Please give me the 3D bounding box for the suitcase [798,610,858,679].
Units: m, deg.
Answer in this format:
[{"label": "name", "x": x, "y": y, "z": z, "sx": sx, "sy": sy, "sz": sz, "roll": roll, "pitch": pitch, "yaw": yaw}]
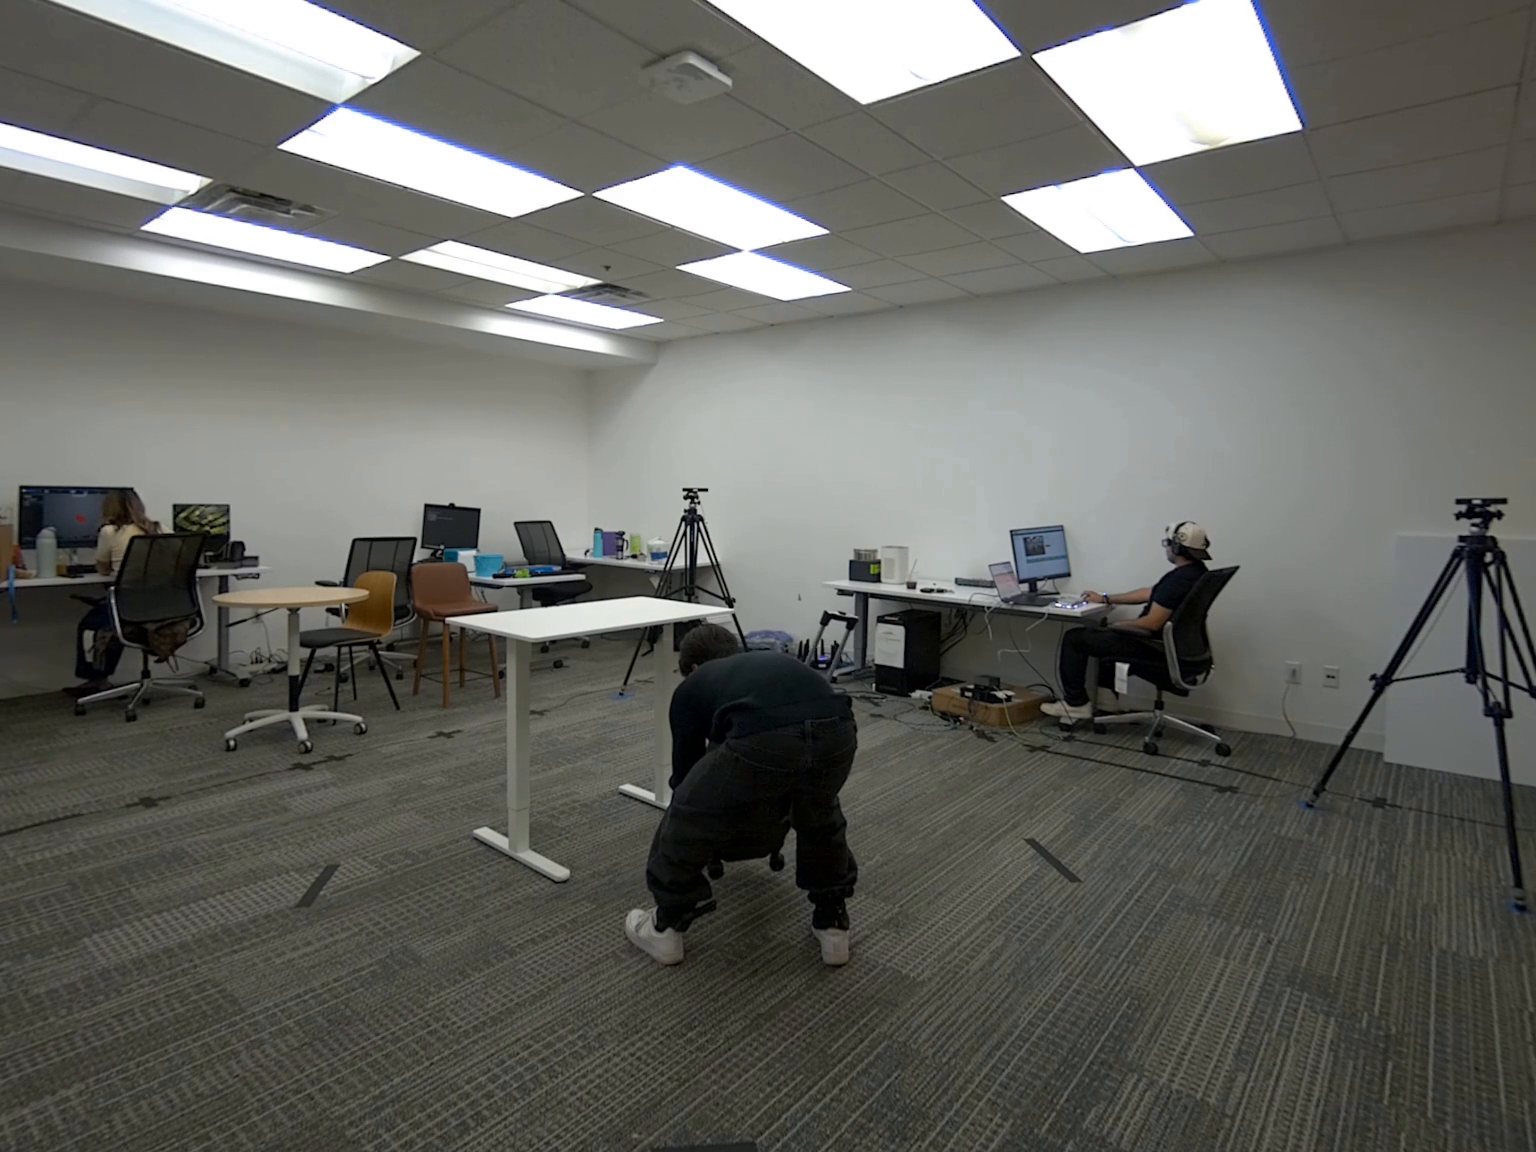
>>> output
[{"label": "suitcase", "x": -0.006, "y": 0.536, "z": 2.953, "sx": 0.370, "sy": 0.974, "sz": 0.268, "roll": 12, "pitch": 11, "yaw": -40}]
